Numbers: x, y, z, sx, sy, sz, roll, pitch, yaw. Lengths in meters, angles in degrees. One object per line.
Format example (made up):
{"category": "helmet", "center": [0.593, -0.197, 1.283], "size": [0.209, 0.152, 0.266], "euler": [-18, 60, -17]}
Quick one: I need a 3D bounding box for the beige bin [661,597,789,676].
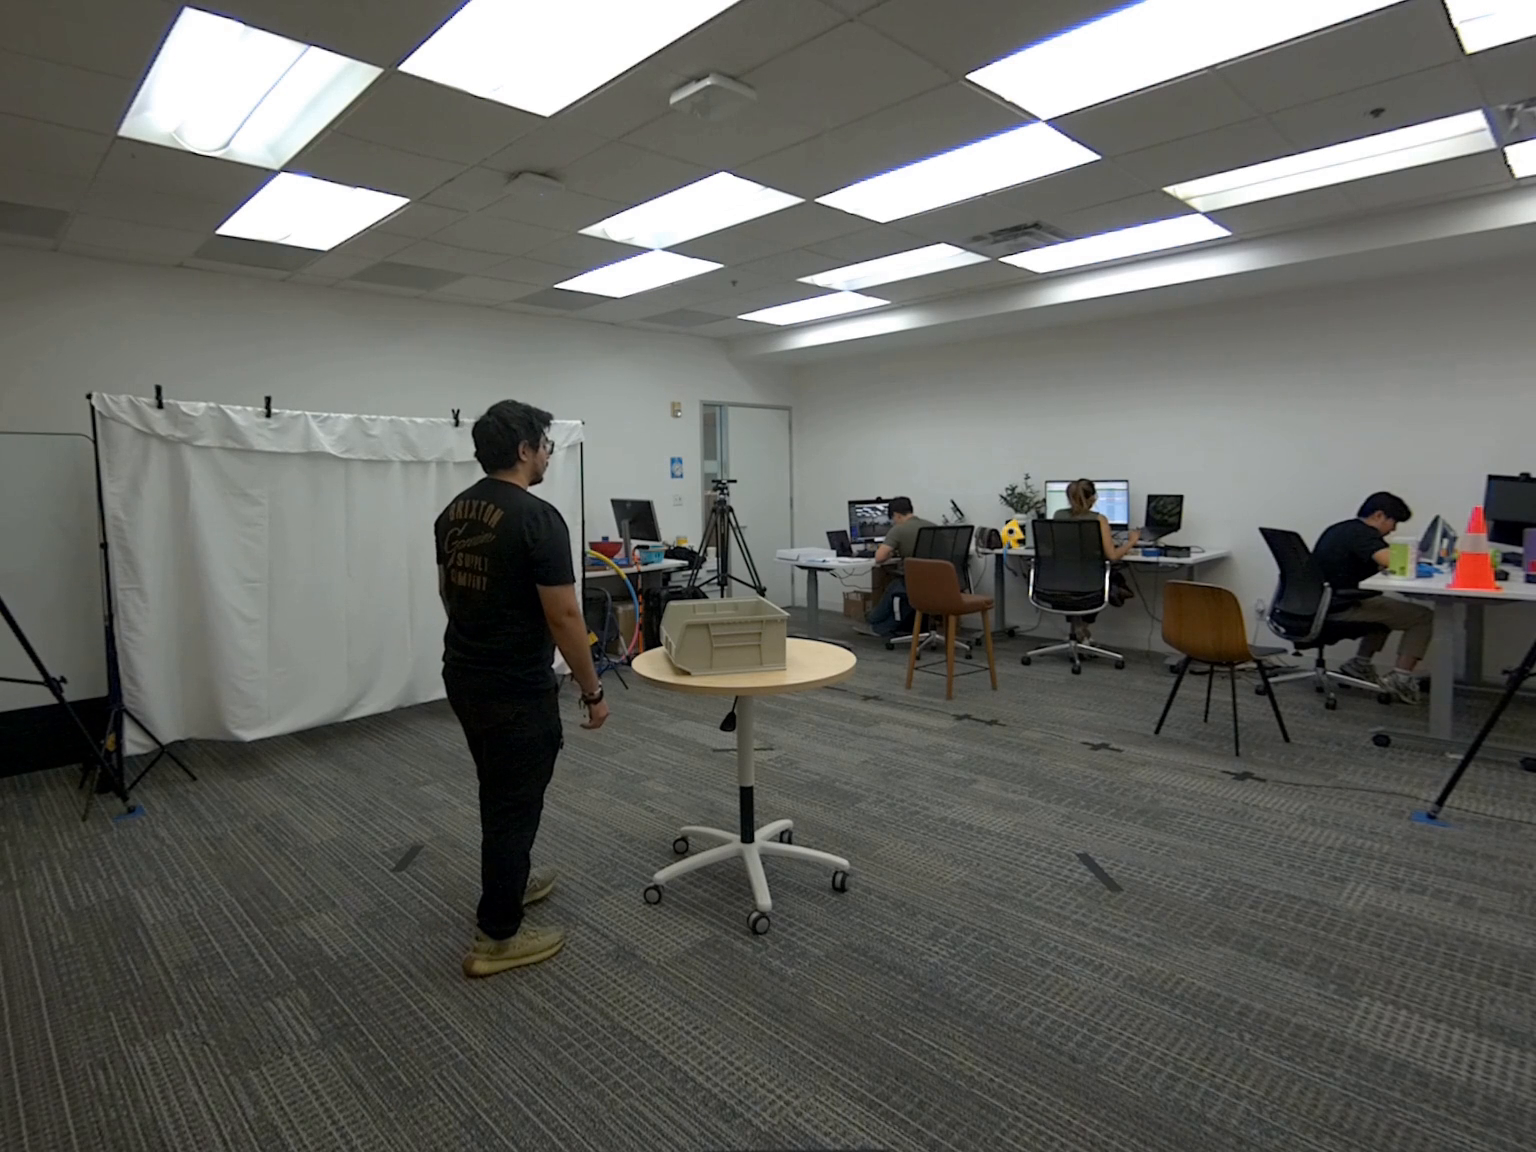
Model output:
{"category": "beige bin", "center": [-0.156, 0.197, 2.917], "size": [0.373, 0.188, 0.429], "euler": [-1, 6, -13]}
